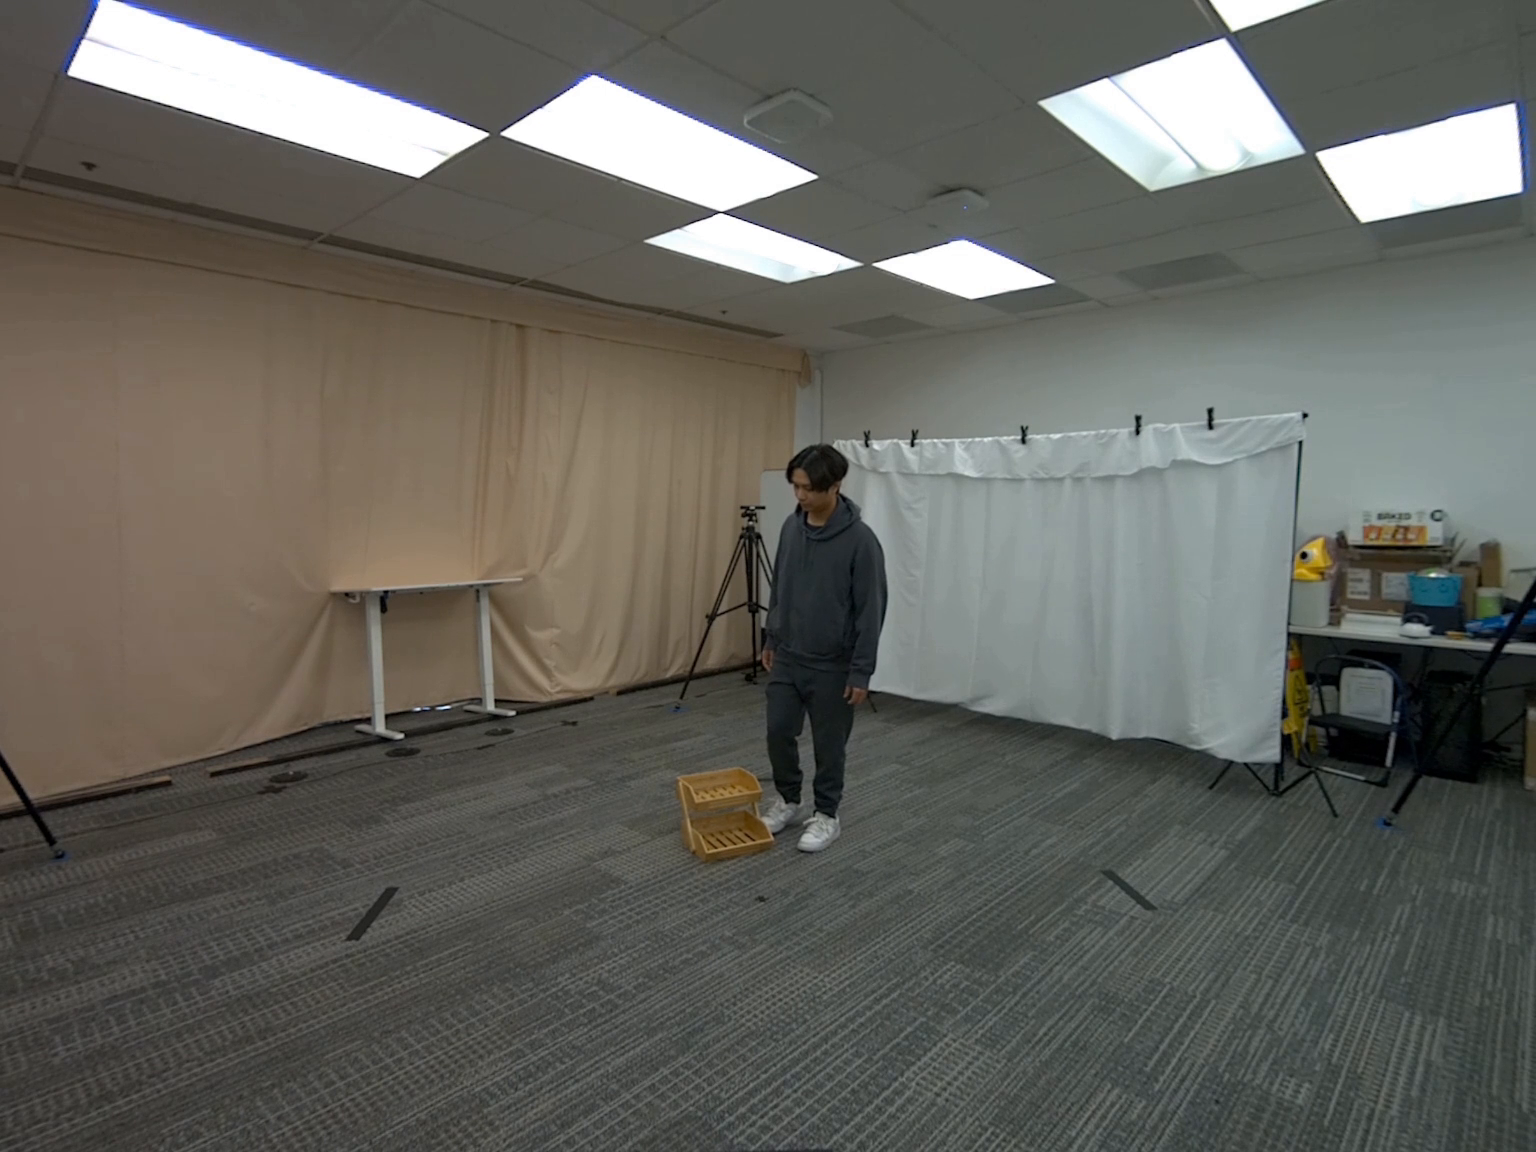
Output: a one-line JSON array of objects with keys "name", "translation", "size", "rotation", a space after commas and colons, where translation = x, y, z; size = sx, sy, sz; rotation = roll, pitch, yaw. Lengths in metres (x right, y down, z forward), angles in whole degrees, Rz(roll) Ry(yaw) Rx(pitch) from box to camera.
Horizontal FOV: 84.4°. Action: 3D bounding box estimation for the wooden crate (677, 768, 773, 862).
[{"name": "wooden crate", "translation": [-0.175, 0.968, 3.460], "size": [0.316, 0.273, 0.310], "rotation": [-2, 3, -27]}]
